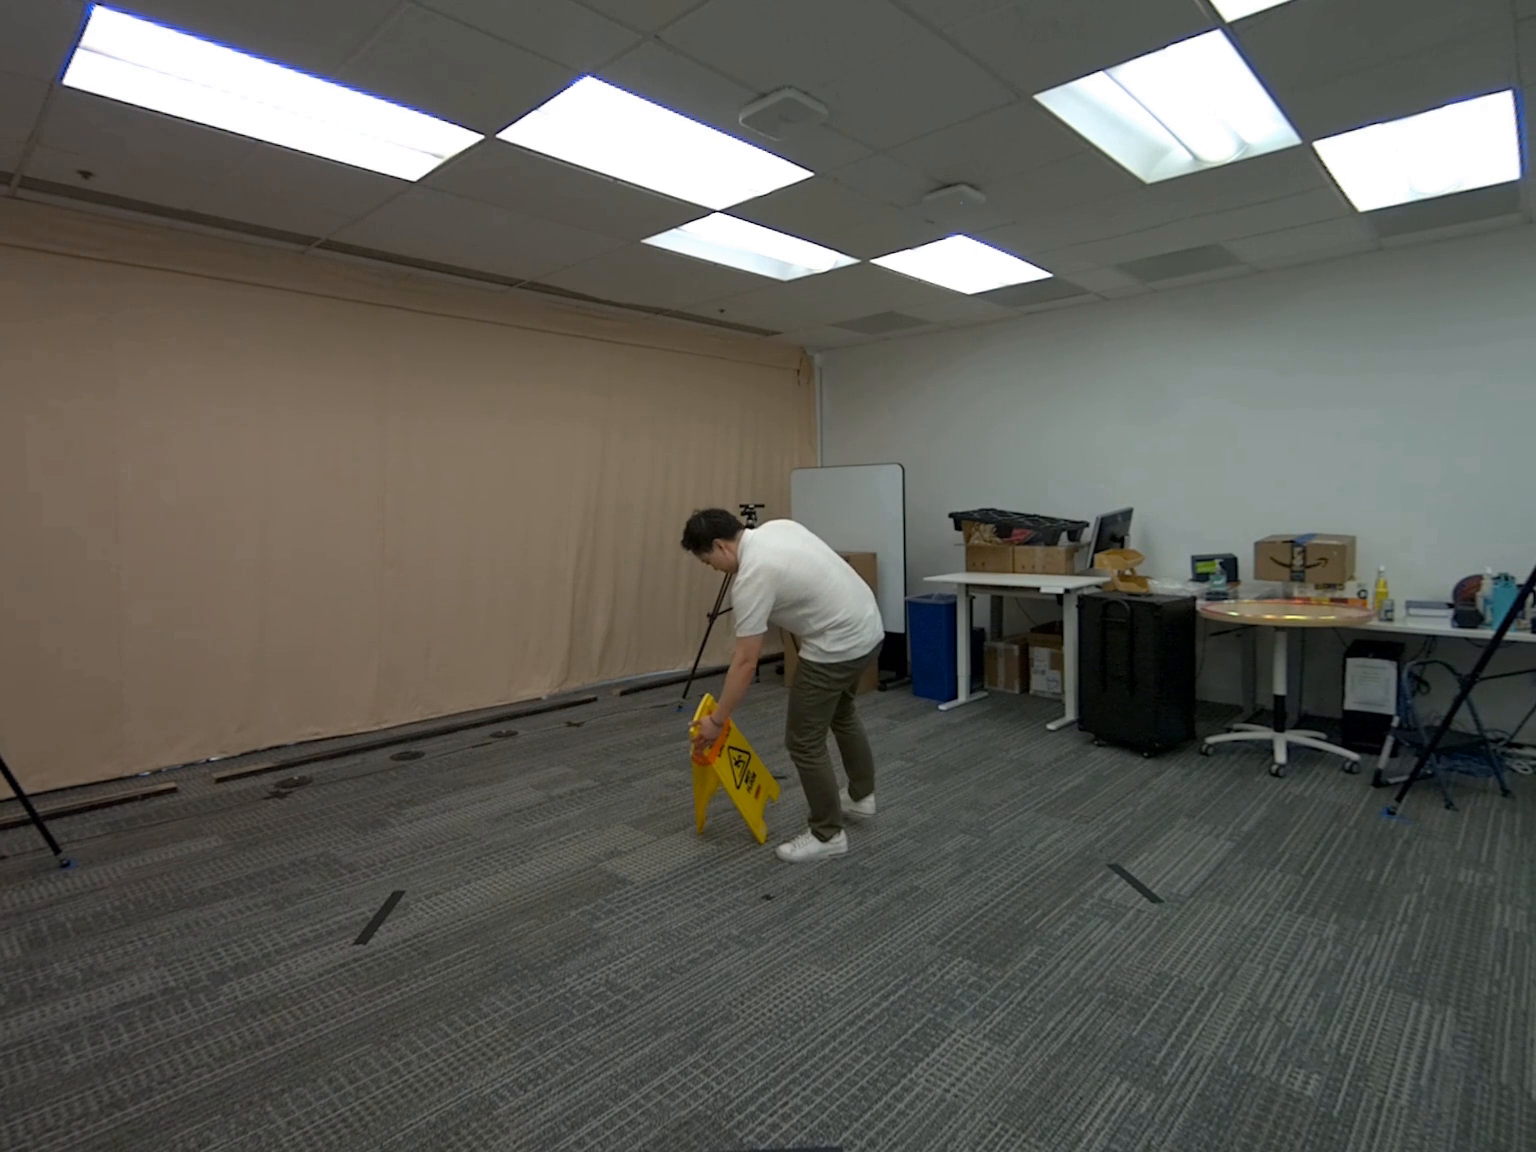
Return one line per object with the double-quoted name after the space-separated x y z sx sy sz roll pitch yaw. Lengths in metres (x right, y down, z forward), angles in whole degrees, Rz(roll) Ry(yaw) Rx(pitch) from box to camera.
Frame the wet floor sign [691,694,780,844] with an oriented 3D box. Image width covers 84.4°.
-0.190 0.769 3.436 0.296 0.630 0.283 -1 37 22 "wet floor sign"
